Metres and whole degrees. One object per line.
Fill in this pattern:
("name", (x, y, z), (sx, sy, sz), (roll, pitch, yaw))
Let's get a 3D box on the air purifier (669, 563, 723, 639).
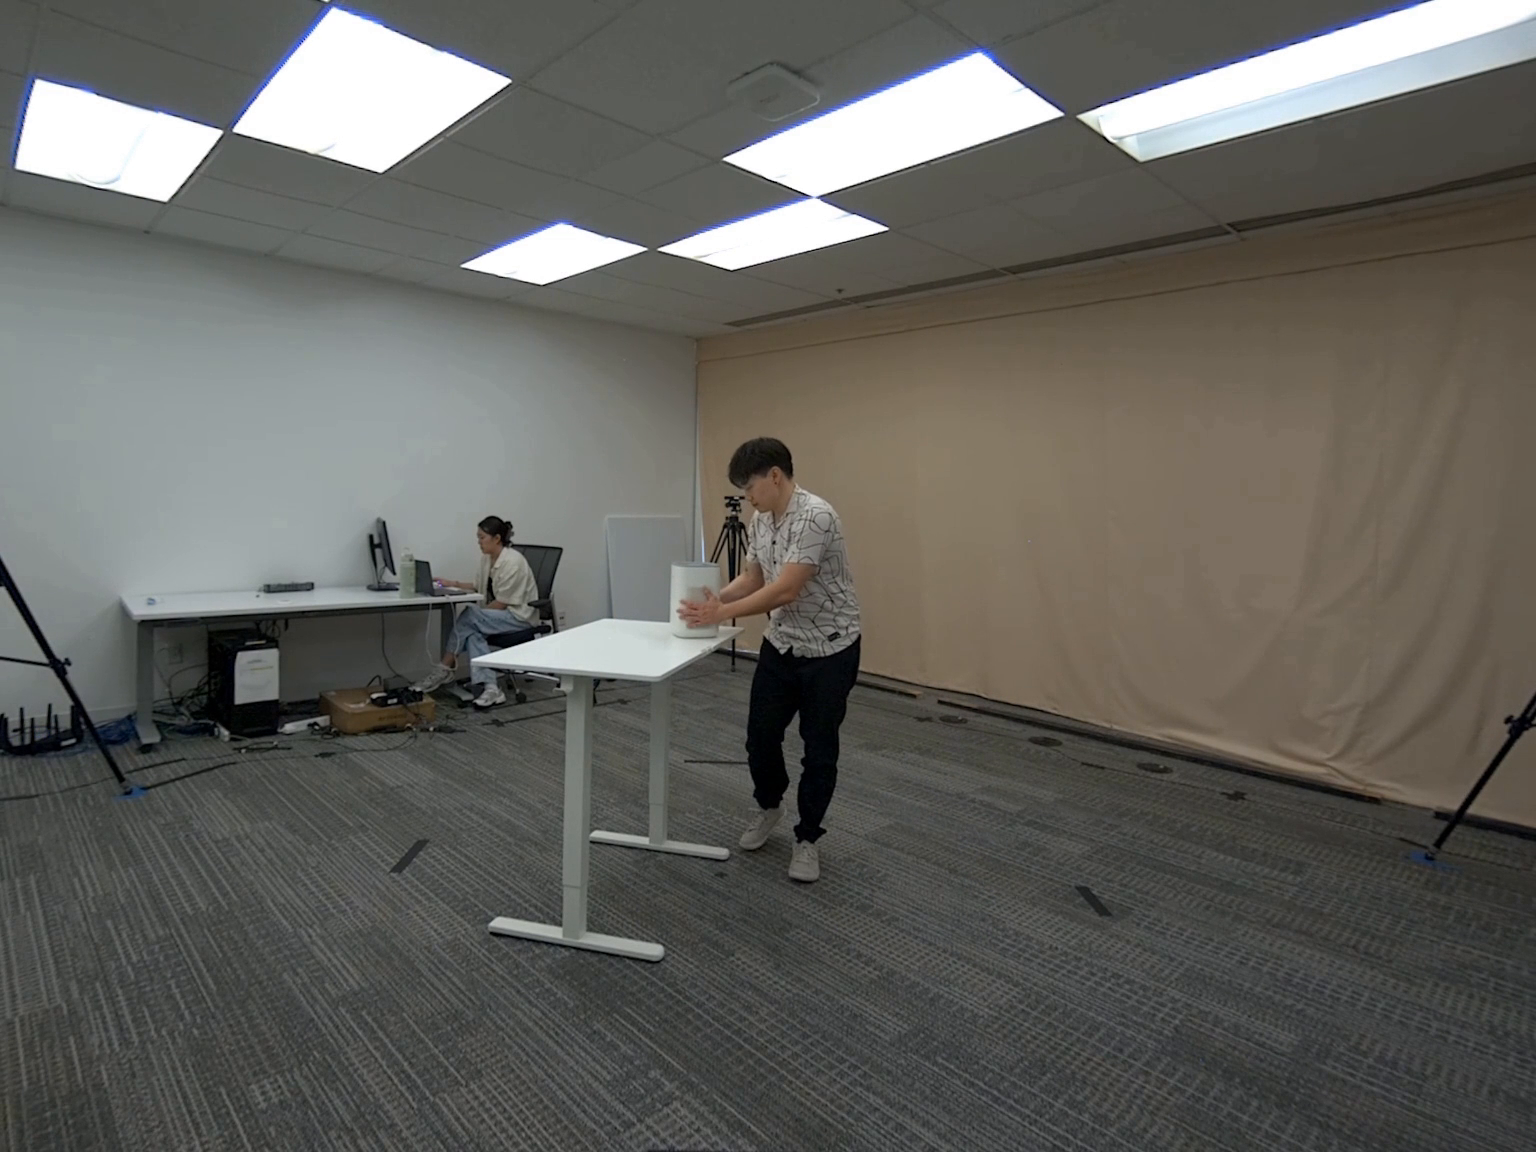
("air purifier", (-0.274, 0.088, 3.106), (0.169, 0.265, 0.174), (0, 3, -18))
